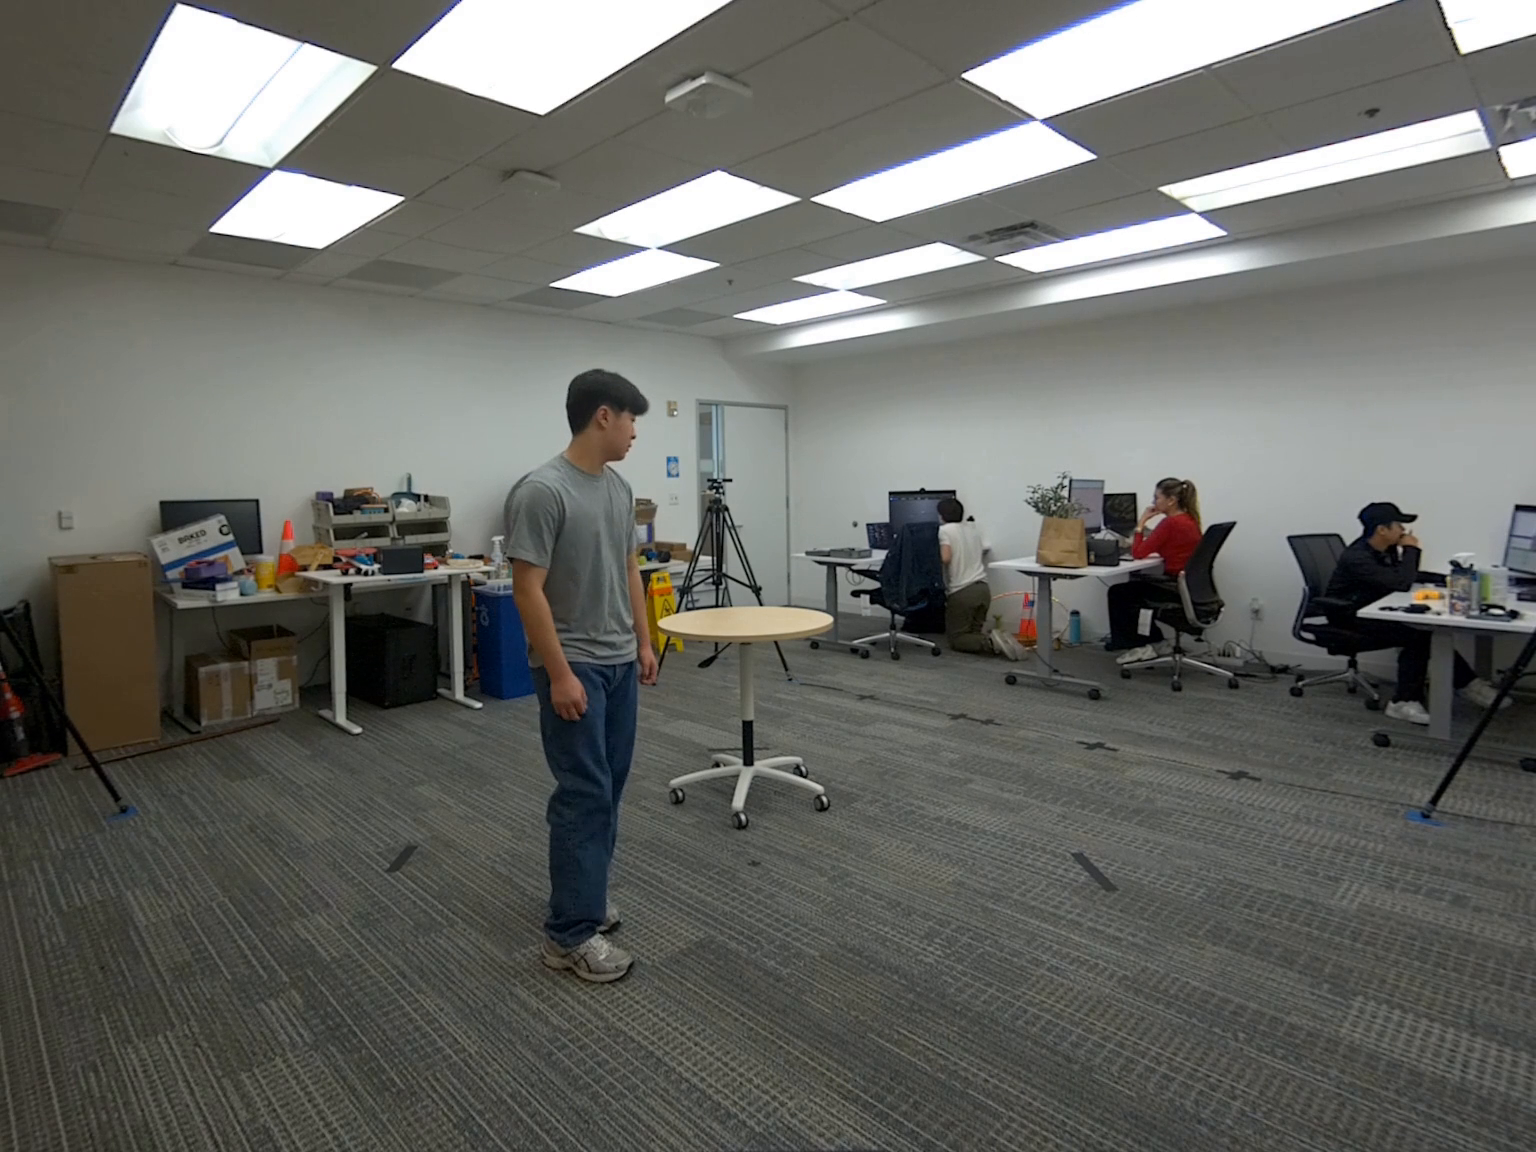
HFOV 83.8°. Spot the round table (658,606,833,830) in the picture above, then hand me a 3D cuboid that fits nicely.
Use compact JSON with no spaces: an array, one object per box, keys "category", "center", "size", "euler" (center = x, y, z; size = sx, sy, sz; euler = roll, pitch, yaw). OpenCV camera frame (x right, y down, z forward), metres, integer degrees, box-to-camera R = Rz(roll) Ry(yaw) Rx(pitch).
[{"category":"round table","center":[-0.089,0.586,3.748],"size":[0.763,0.791,0.767],"euler":[-1,4,-2]}]
